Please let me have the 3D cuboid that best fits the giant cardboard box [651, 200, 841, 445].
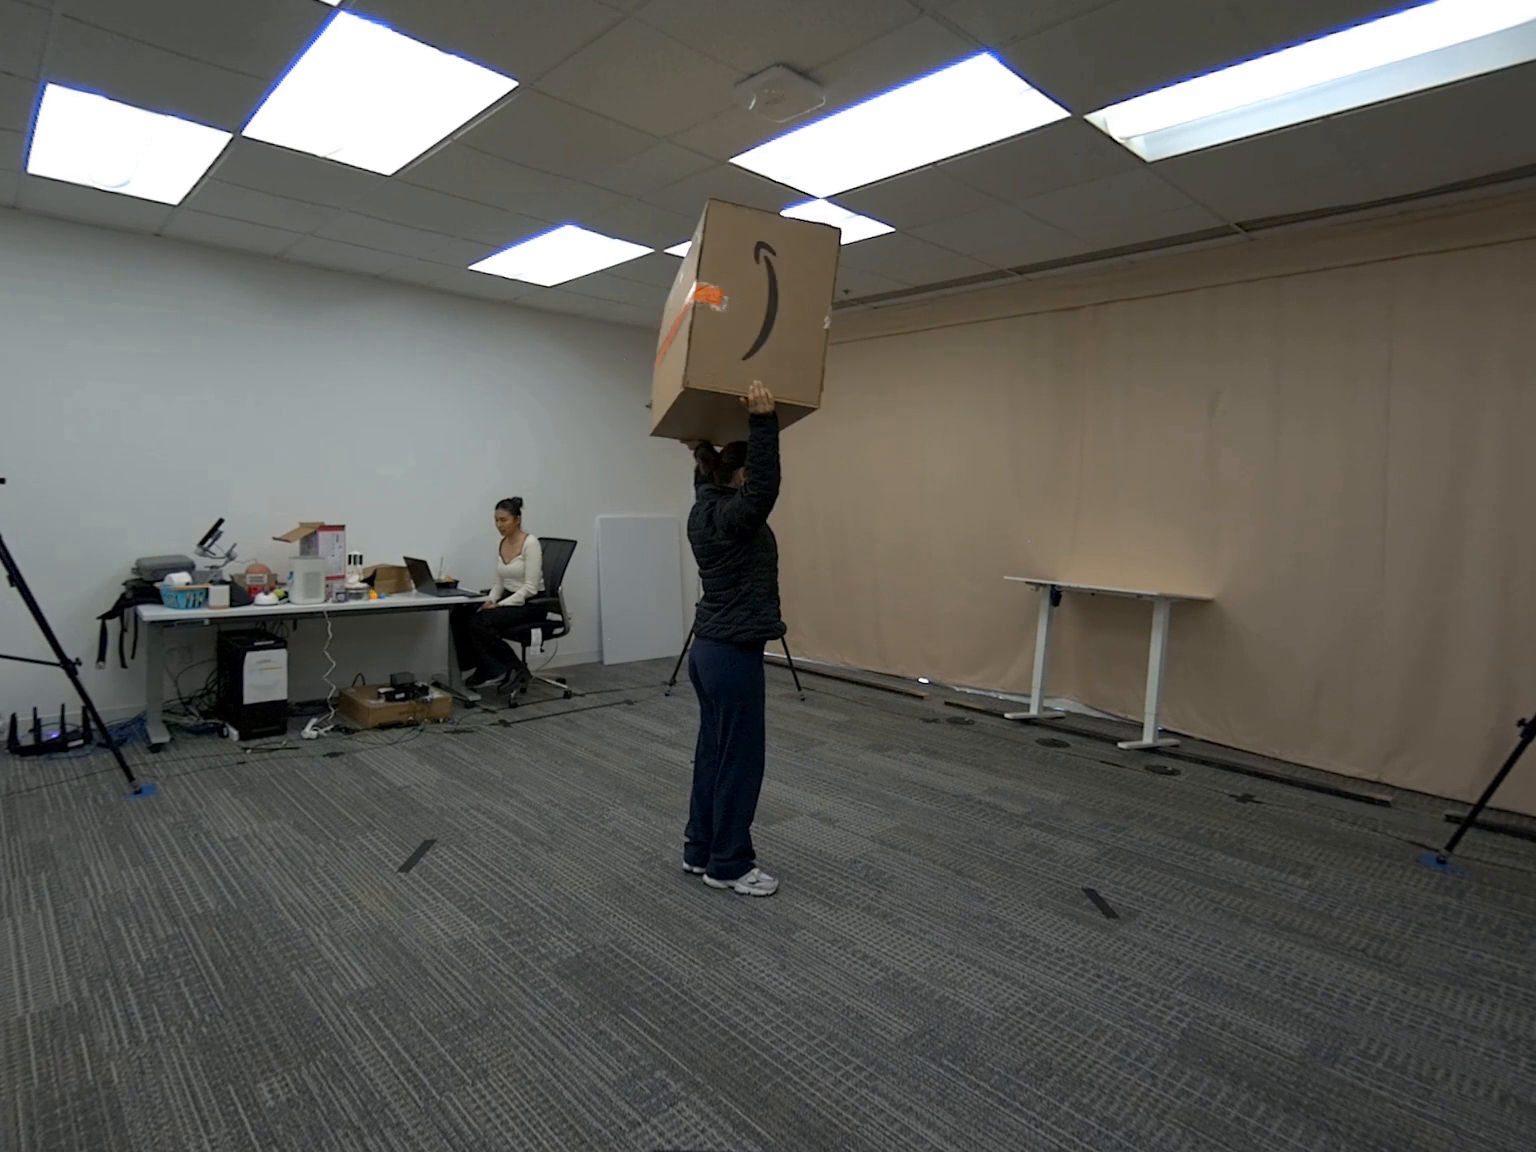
[{"bbox_3d":[-0.140,-0.817,3.013,0.441,0.585,1.037,7,-2,-14],"label":"giant cardboard box"}]
